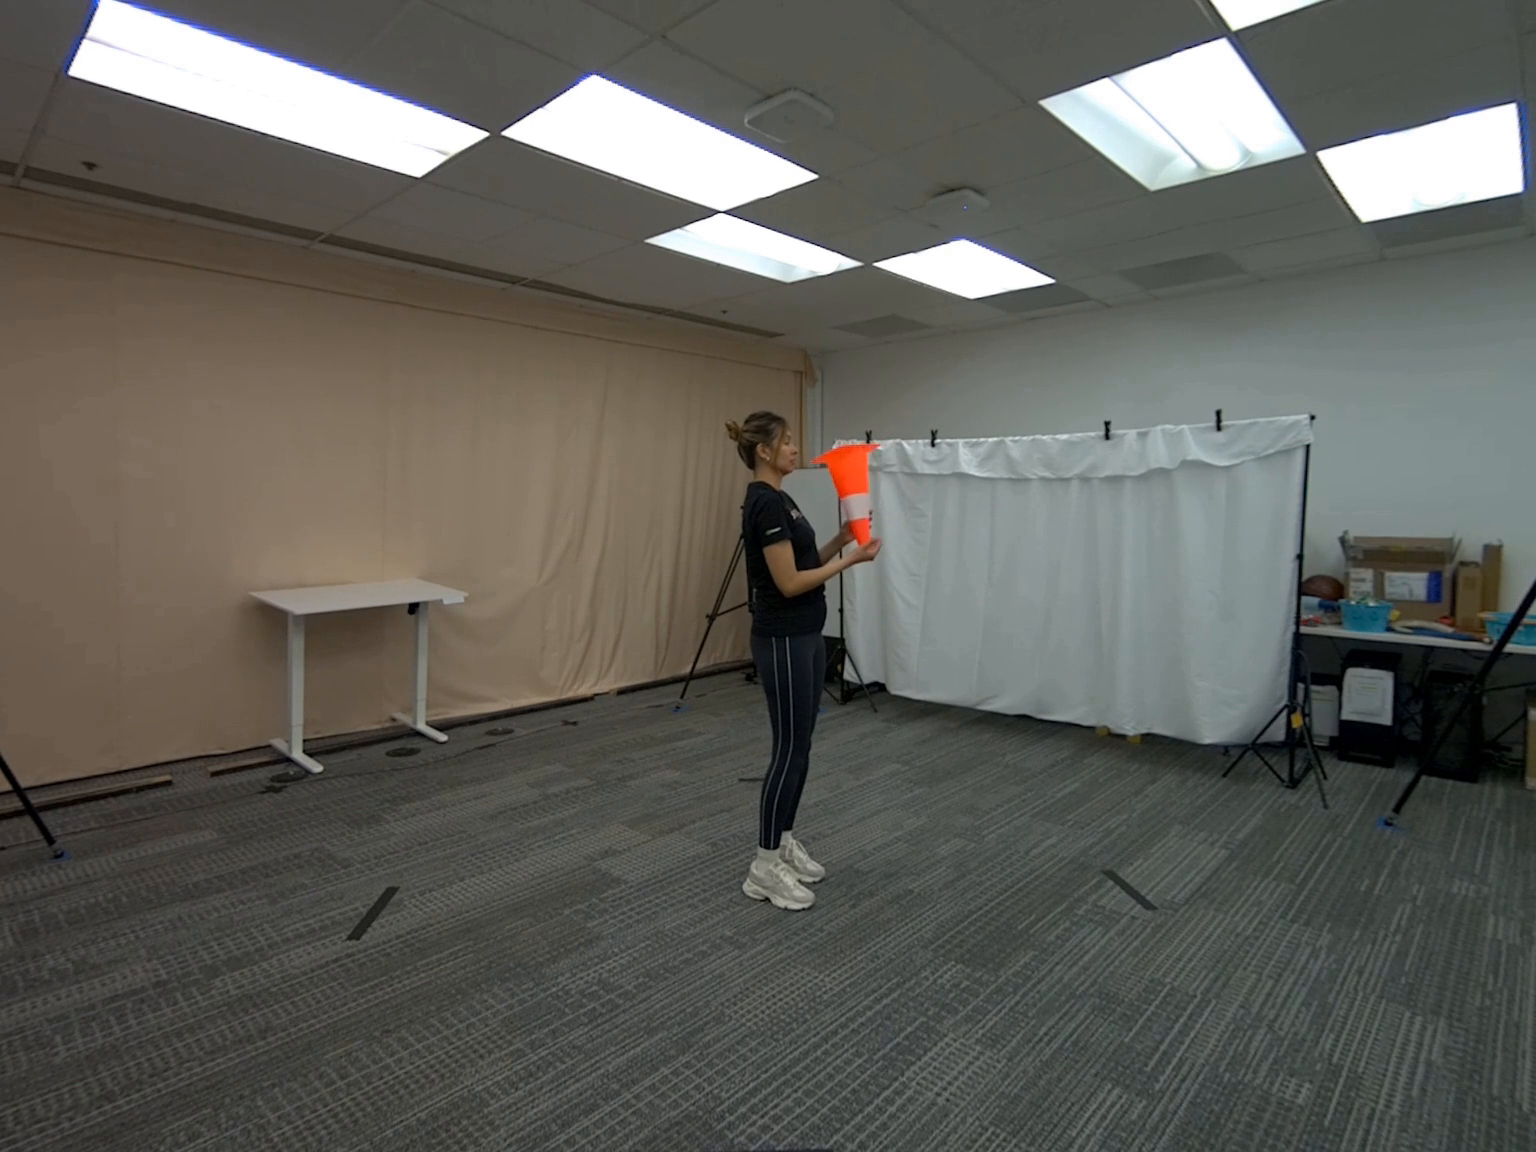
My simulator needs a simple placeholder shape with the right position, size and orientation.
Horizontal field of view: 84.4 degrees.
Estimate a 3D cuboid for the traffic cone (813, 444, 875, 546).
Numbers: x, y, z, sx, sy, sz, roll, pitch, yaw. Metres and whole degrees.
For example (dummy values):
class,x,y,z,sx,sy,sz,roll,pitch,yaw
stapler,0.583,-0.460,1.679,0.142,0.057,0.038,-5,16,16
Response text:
class,x,y,z,sx,sy,sz,roll,pitch,yaw
traffic cone,0.336,-0.262,3.052,0.200,0.386,0.206,-7,-10,-25
